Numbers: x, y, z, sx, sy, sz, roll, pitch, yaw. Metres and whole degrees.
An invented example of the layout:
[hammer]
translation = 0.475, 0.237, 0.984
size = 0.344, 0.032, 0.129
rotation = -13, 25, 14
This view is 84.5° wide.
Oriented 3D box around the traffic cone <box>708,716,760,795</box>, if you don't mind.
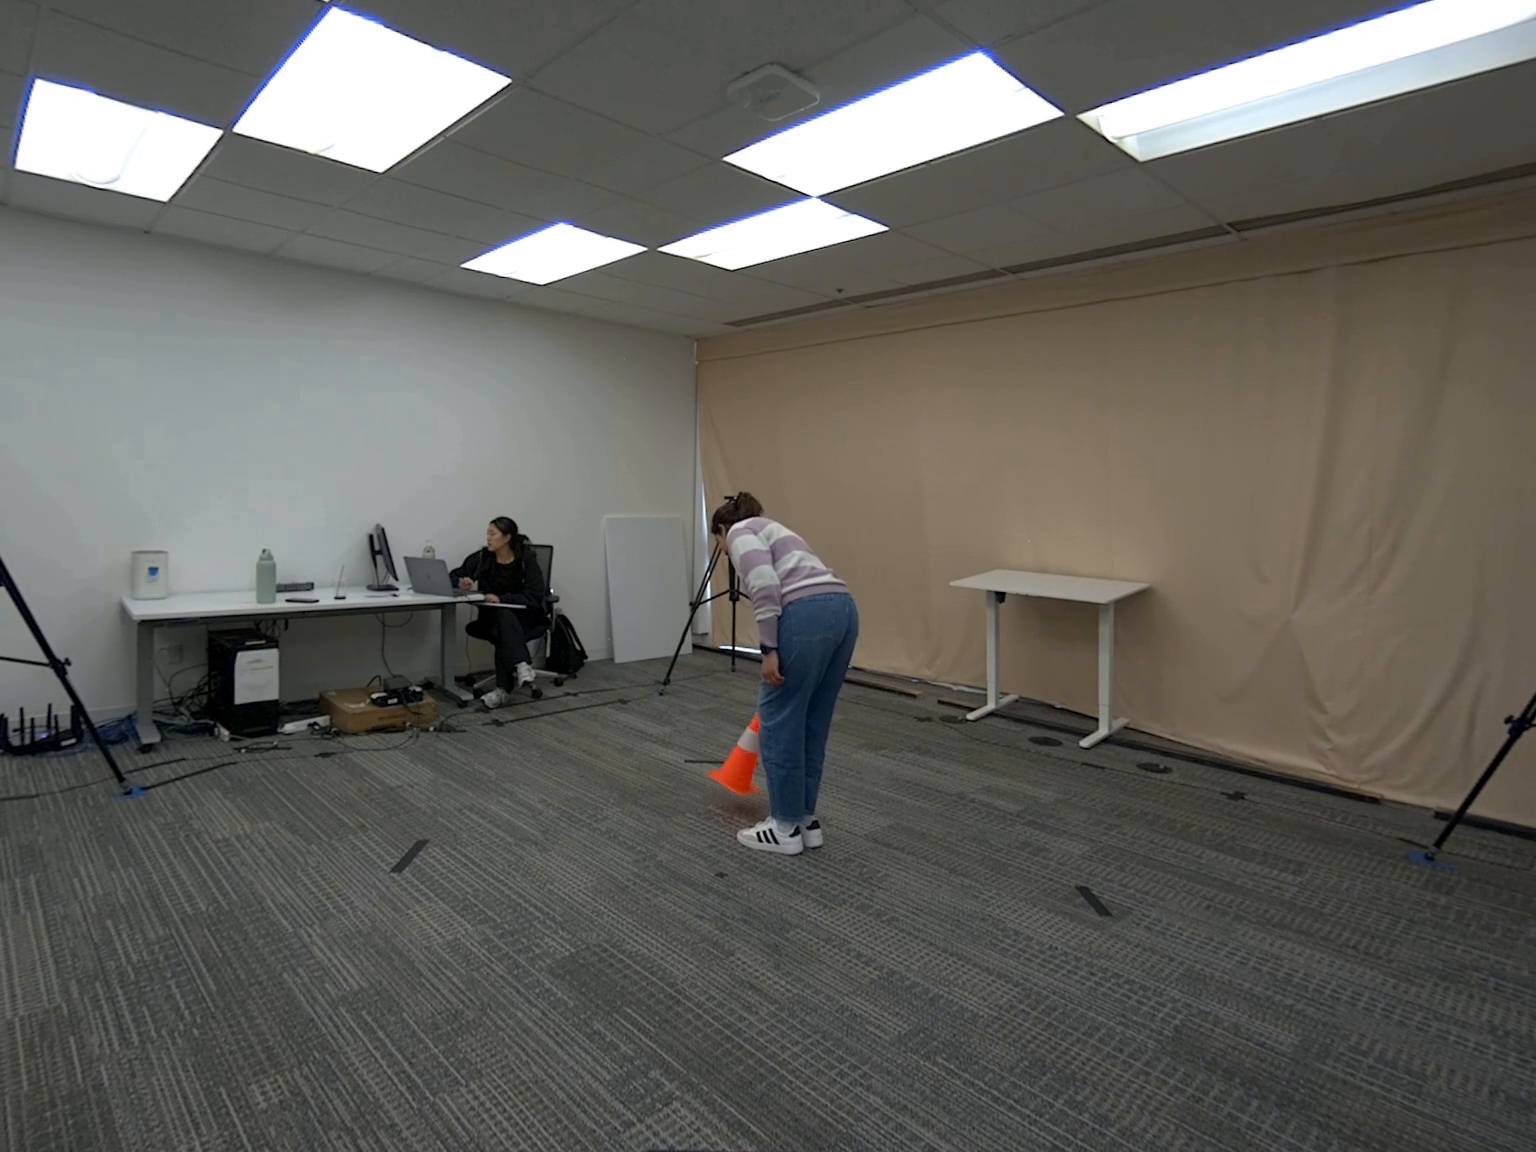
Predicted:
[traffic cone]
translation = -0.090, 0.744, 3.743
size = 0.210, 0.382, 0.199
rotation = 27, 9, 26
